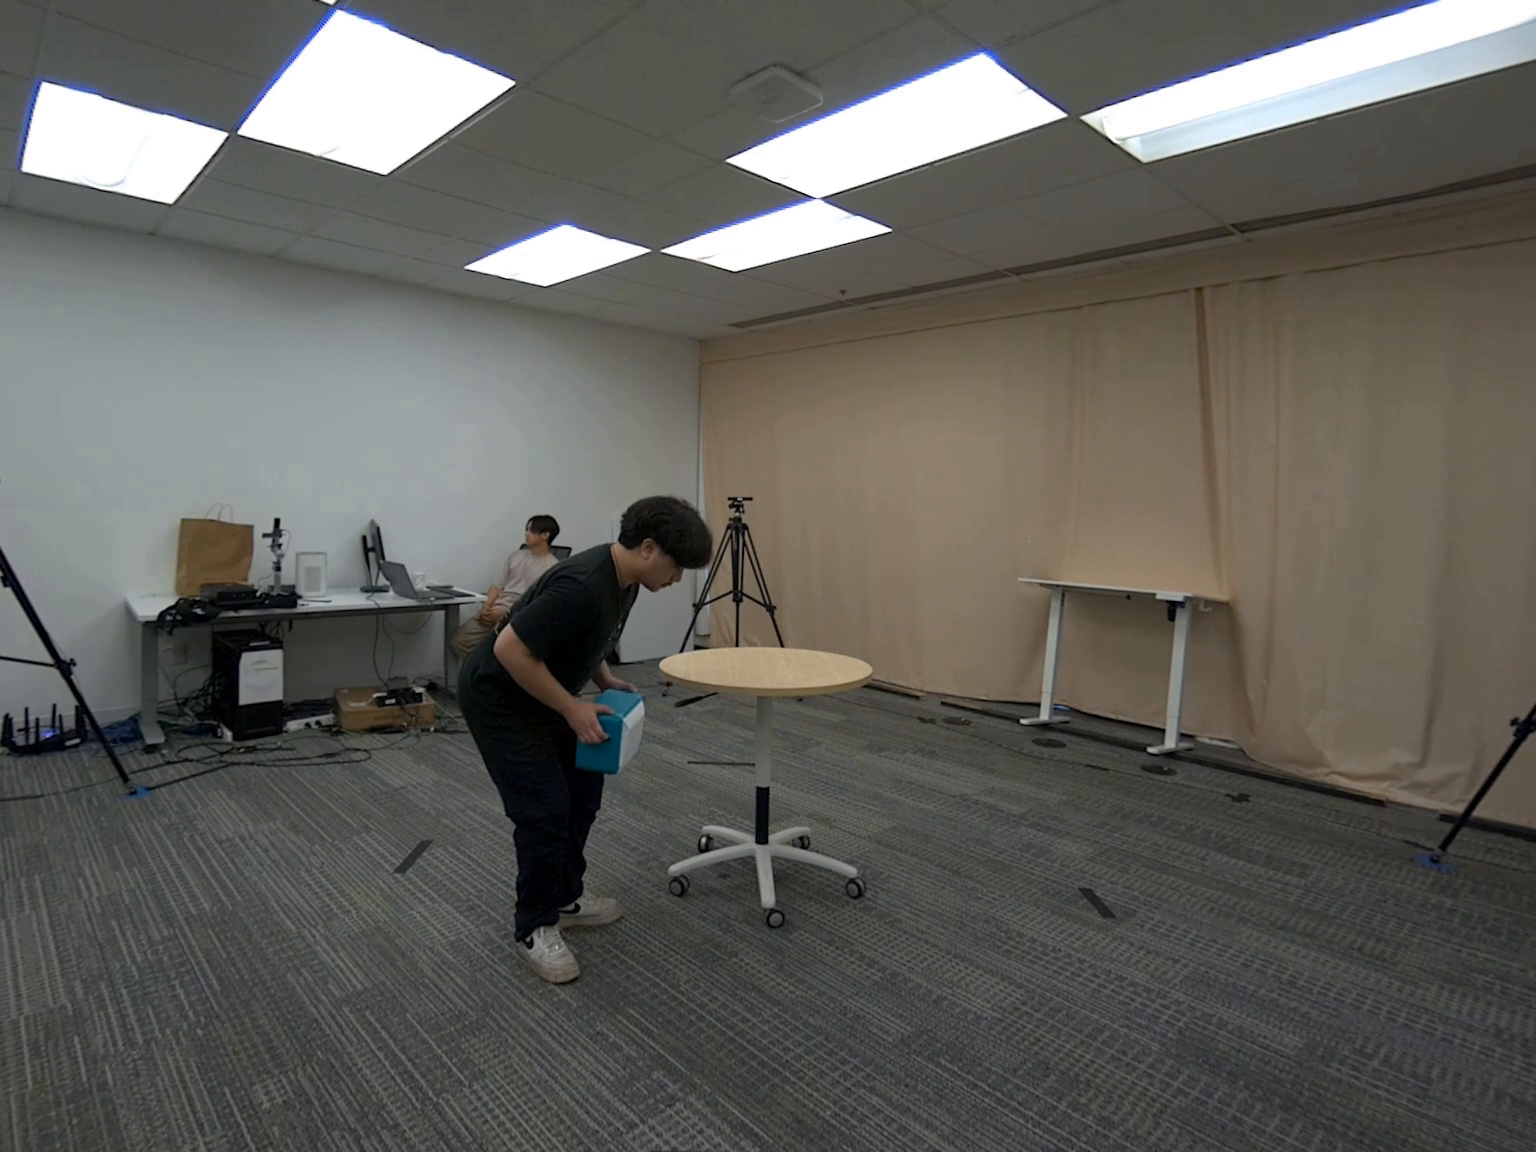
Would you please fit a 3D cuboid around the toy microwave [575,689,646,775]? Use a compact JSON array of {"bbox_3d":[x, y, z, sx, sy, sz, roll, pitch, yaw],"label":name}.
[{"bbox_3d":[-0.469,0.461,2.552,0.153,0.183,0.285,7,7,7],"label":"toy microwave"}]
